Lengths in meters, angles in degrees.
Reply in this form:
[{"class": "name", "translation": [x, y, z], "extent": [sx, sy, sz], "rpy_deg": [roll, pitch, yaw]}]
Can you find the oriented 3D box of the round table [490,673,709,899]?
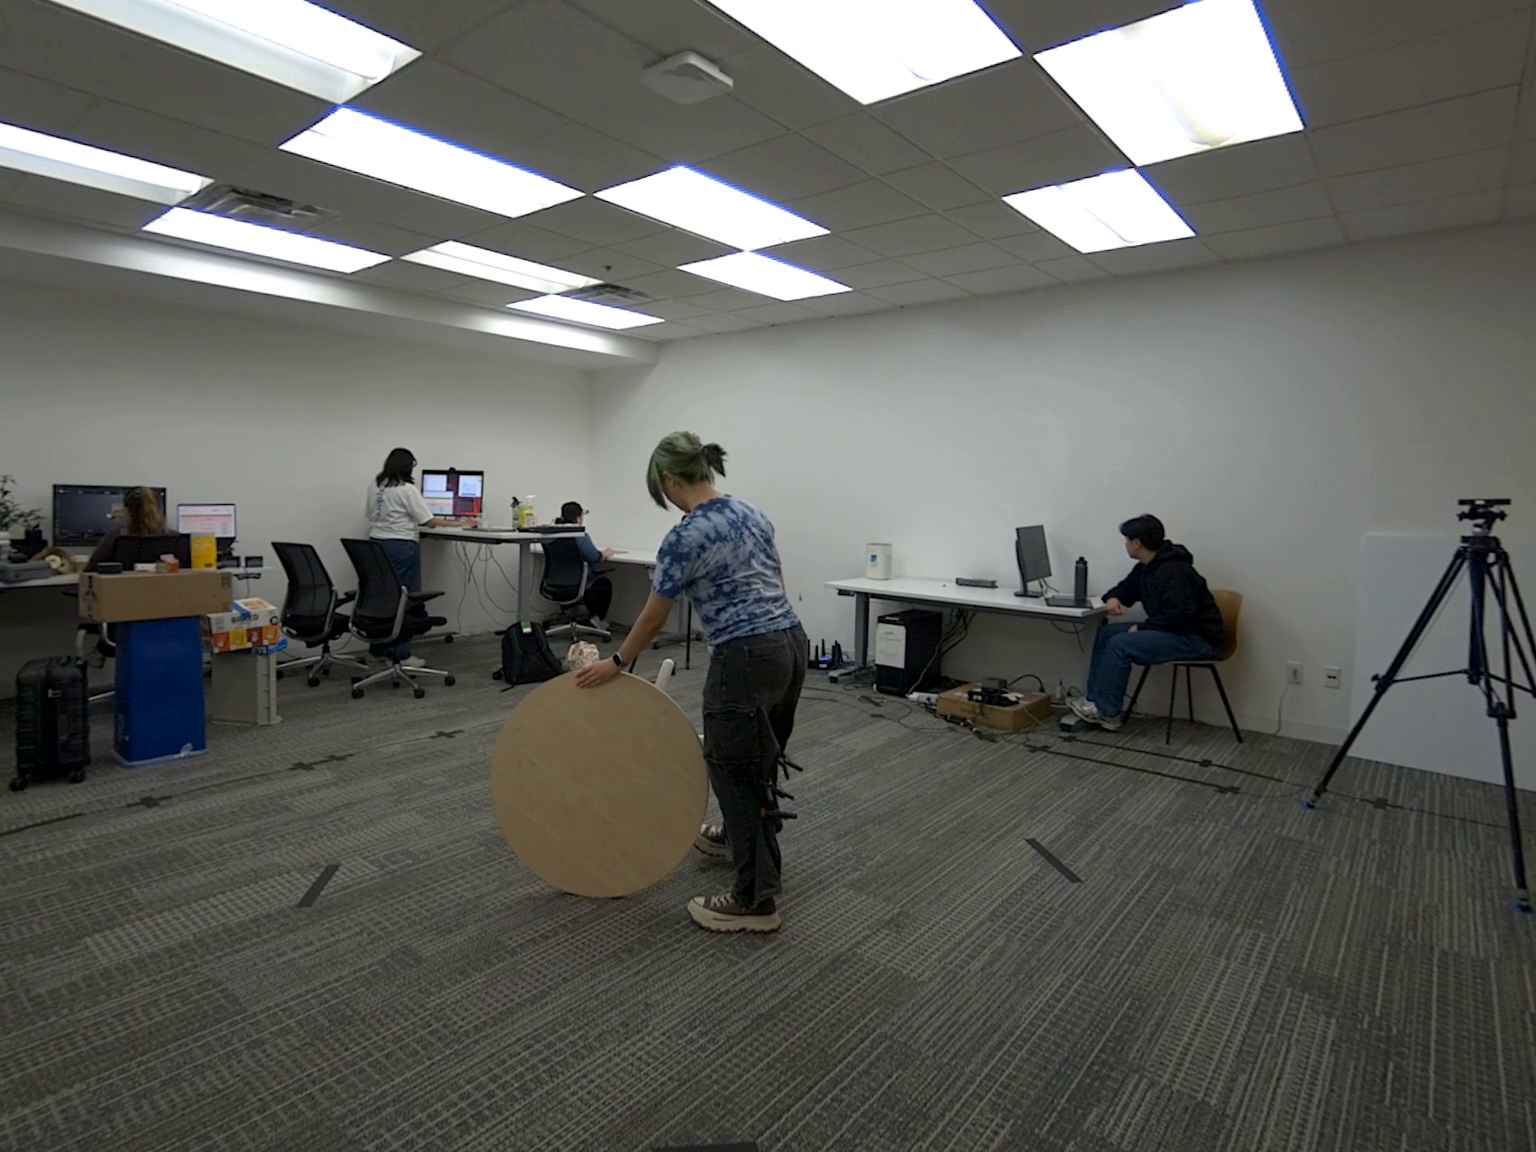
[{"class": "round table", "translation": [-0.563, 0.699, 3.280], "extent": [0.771, 0.765, 0.786], "rpy_deg": [1, -1, 7]}]
